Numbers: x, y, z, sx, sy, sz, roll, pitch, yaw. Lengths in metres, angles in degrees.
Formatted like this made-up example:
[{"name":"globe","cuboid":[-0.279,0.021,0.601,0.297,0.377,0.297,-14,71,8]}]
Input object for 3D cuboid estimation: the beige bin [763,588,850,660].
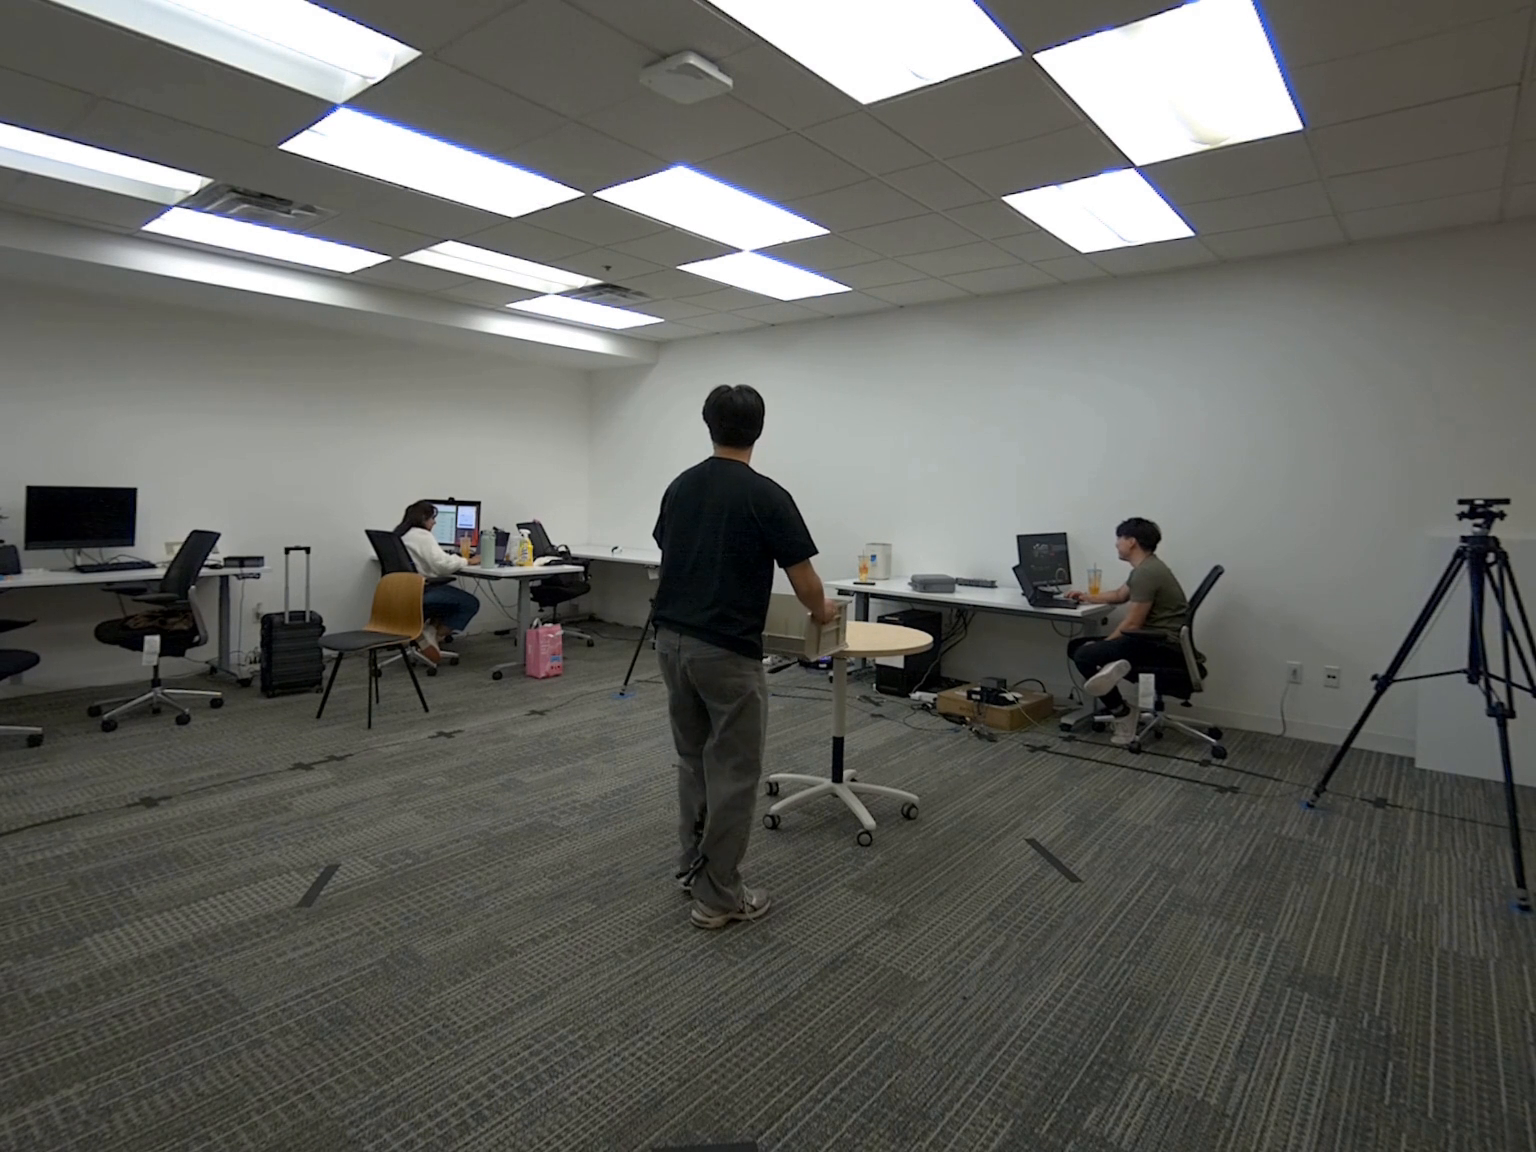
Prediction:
[{"name":"beige bin","cuboid":[0.038,0.186,3.181,0.435,0.188,0.367,3,5,32]}]
